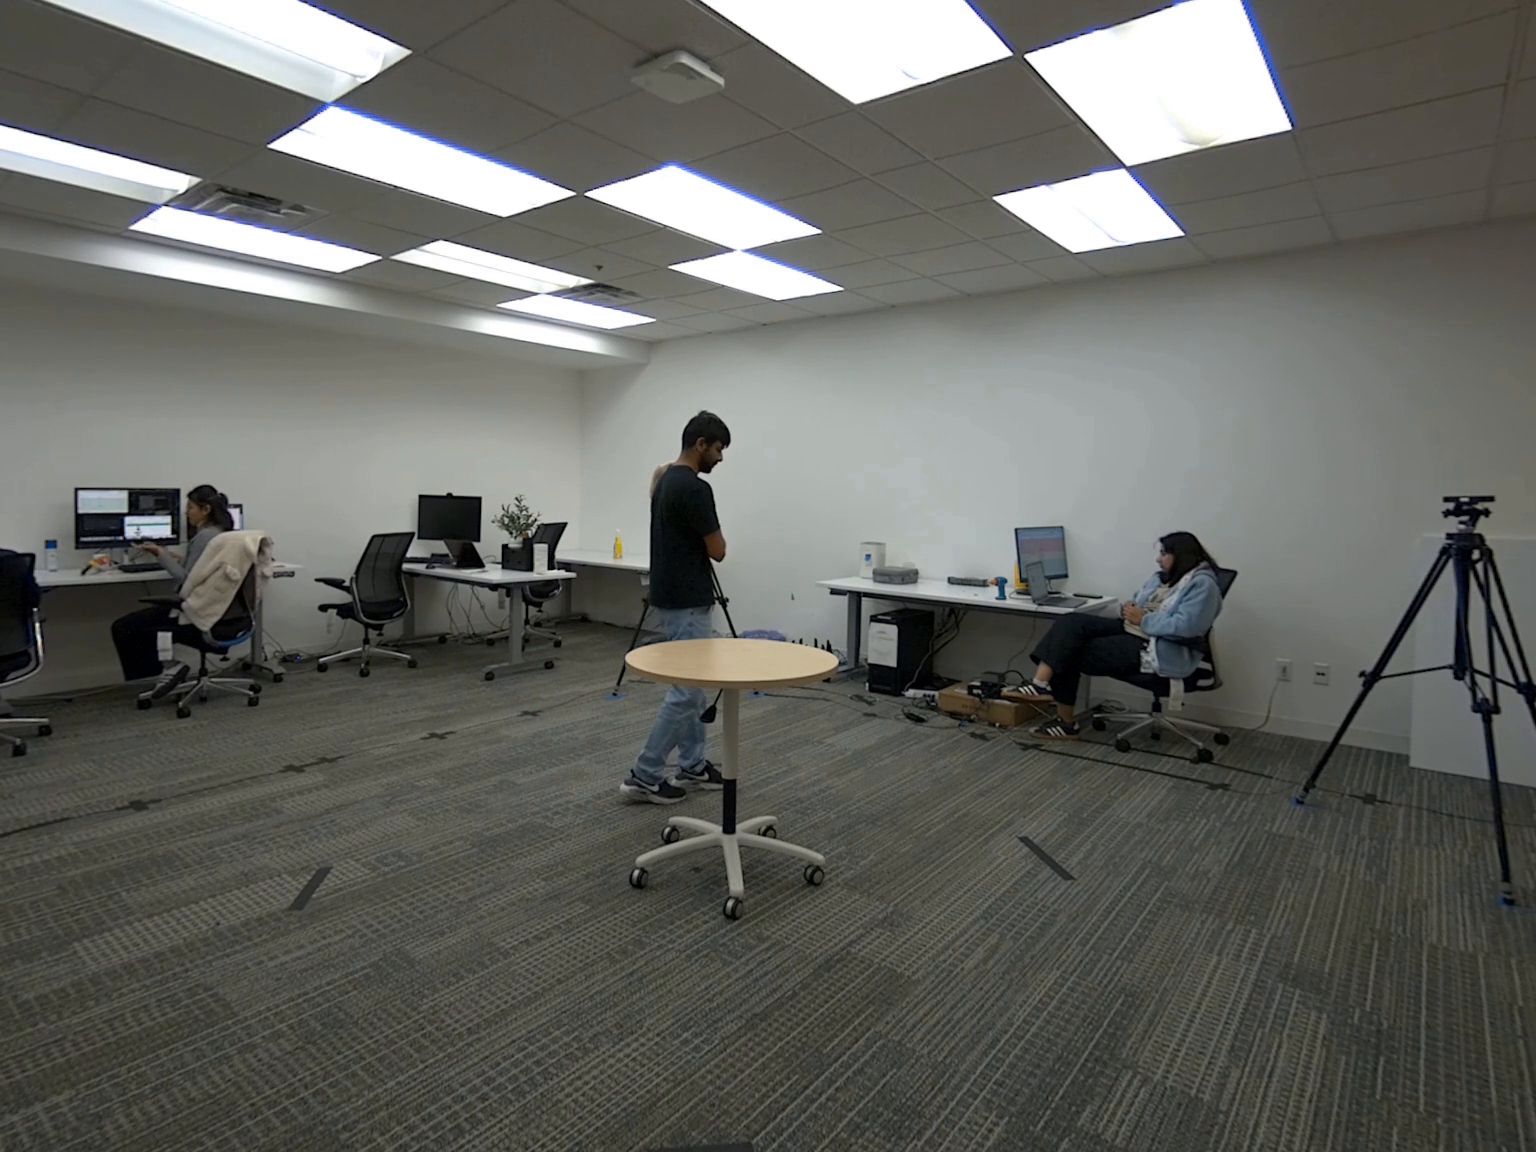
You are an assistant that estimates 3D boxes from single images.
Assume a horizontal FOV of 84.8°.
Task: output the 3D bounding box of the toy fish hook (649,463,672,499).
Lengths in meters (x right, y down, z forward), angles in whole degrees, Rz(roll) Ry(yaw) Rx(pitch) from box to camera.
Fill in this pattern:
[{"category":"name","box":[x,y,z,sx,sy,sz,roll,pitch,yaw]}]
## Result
[{"category":"toy fish hook","box":[-0.425,-0.282,3.962,0.223,0.503,0.049,-12,5,-5]}]
